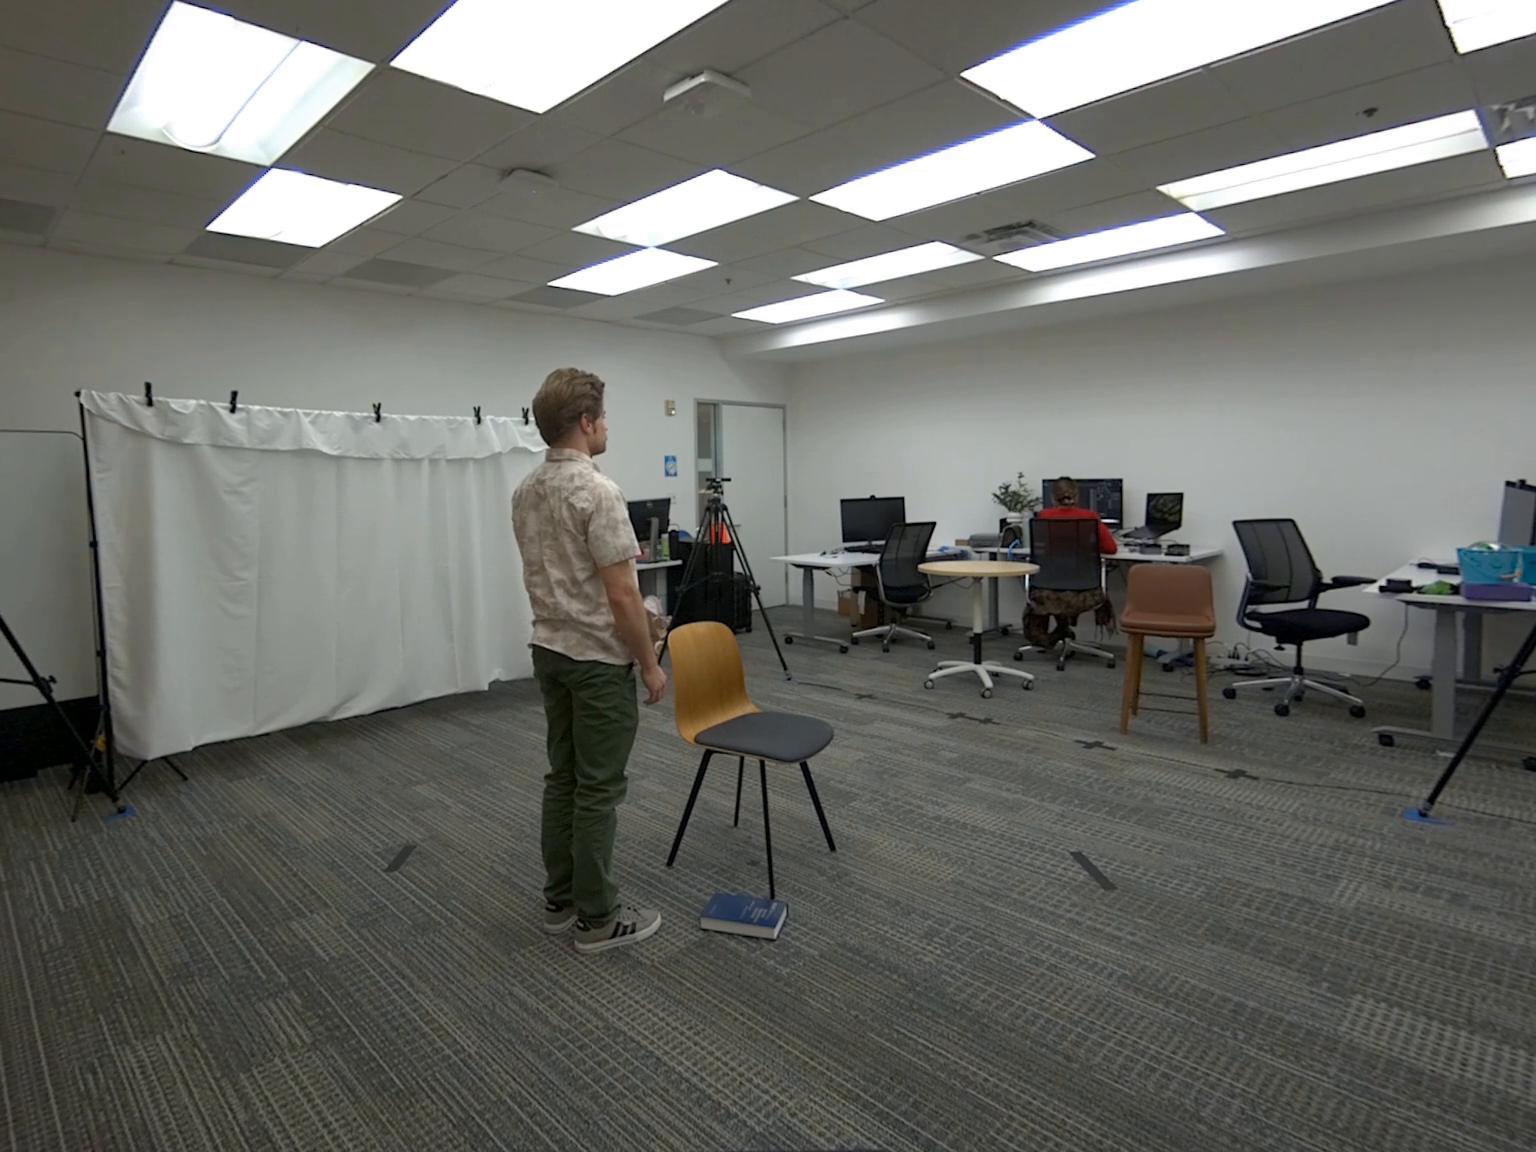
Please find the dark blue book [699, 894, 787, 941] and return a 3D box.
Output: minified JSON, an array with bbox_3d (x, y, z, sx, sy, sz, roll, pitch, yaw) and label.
[{"bbox_3d":[-0.073,1.064,2.686,0.249,0.045,0.161,1,8,17],"label":"dark blue book"}]
